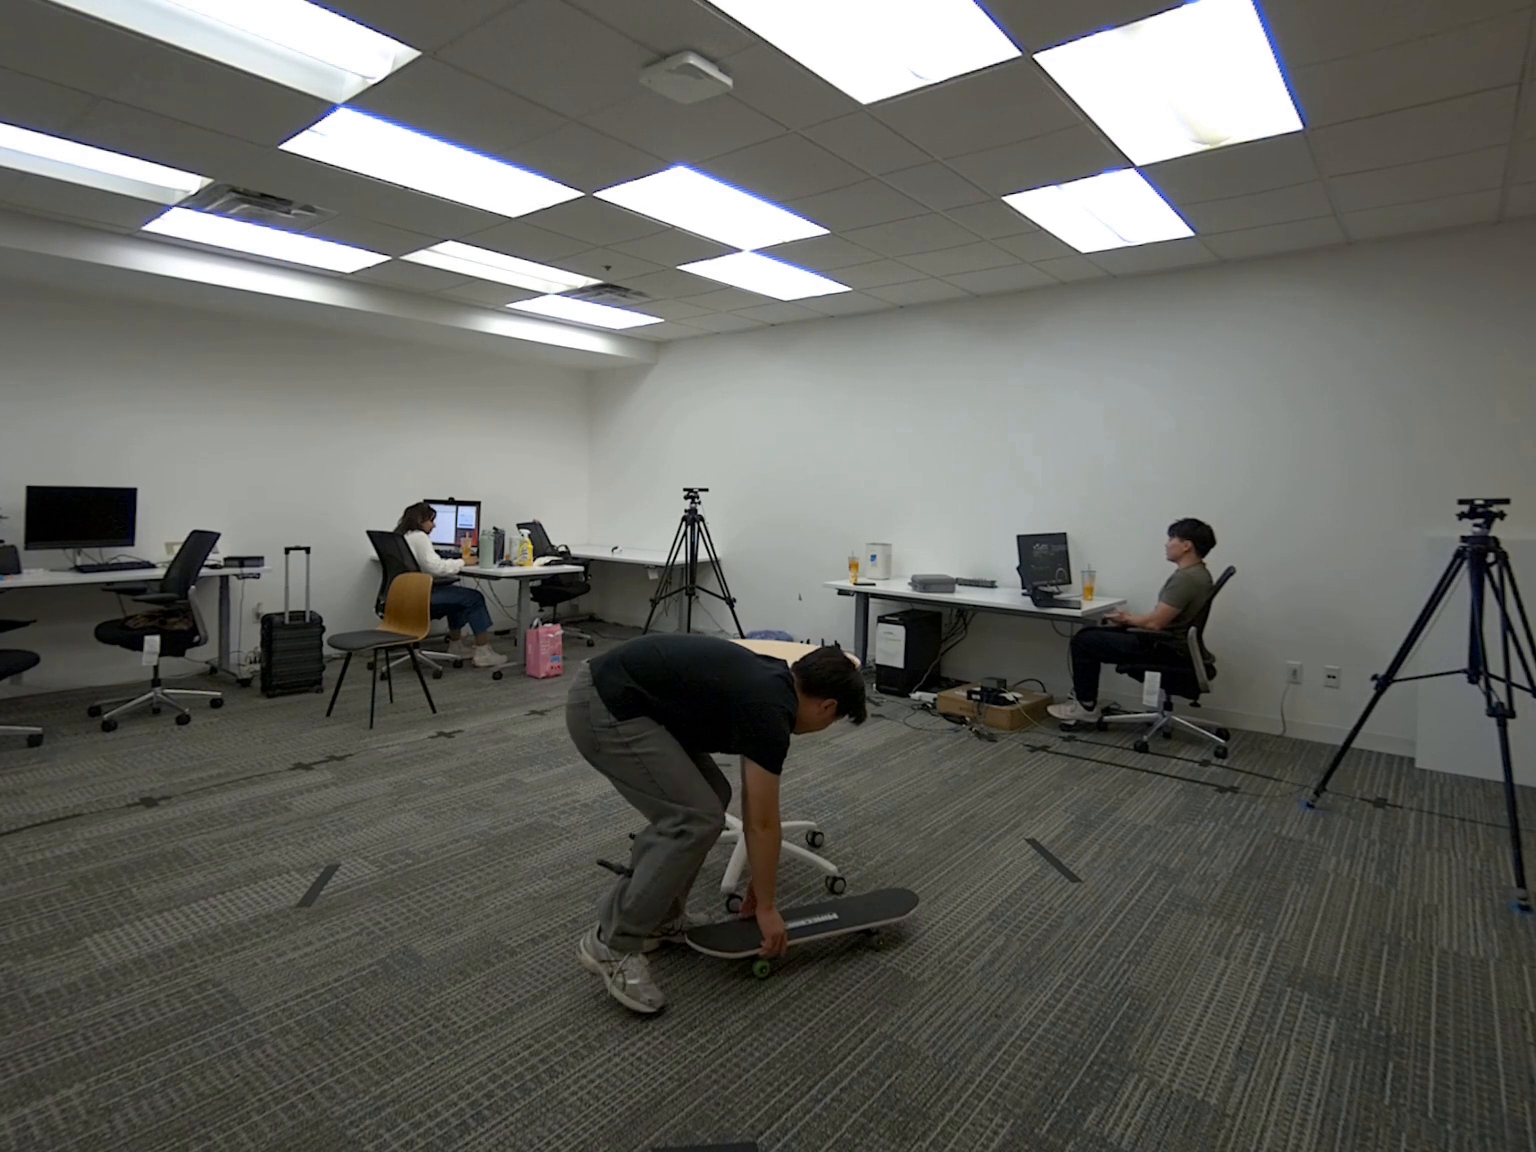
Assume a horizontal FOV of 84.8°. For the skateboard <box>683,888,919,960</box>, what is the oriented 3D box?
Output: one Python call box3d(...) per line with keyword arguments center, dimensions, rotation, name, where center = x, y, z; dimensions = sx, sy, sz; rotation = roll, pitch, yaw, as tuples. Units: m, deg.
box3d(center=(0.113, 1.068, 2.568), dimensions=(0.767, 0.110, 0.198), rotation=(-1, 3, -25), name="skateboard")
